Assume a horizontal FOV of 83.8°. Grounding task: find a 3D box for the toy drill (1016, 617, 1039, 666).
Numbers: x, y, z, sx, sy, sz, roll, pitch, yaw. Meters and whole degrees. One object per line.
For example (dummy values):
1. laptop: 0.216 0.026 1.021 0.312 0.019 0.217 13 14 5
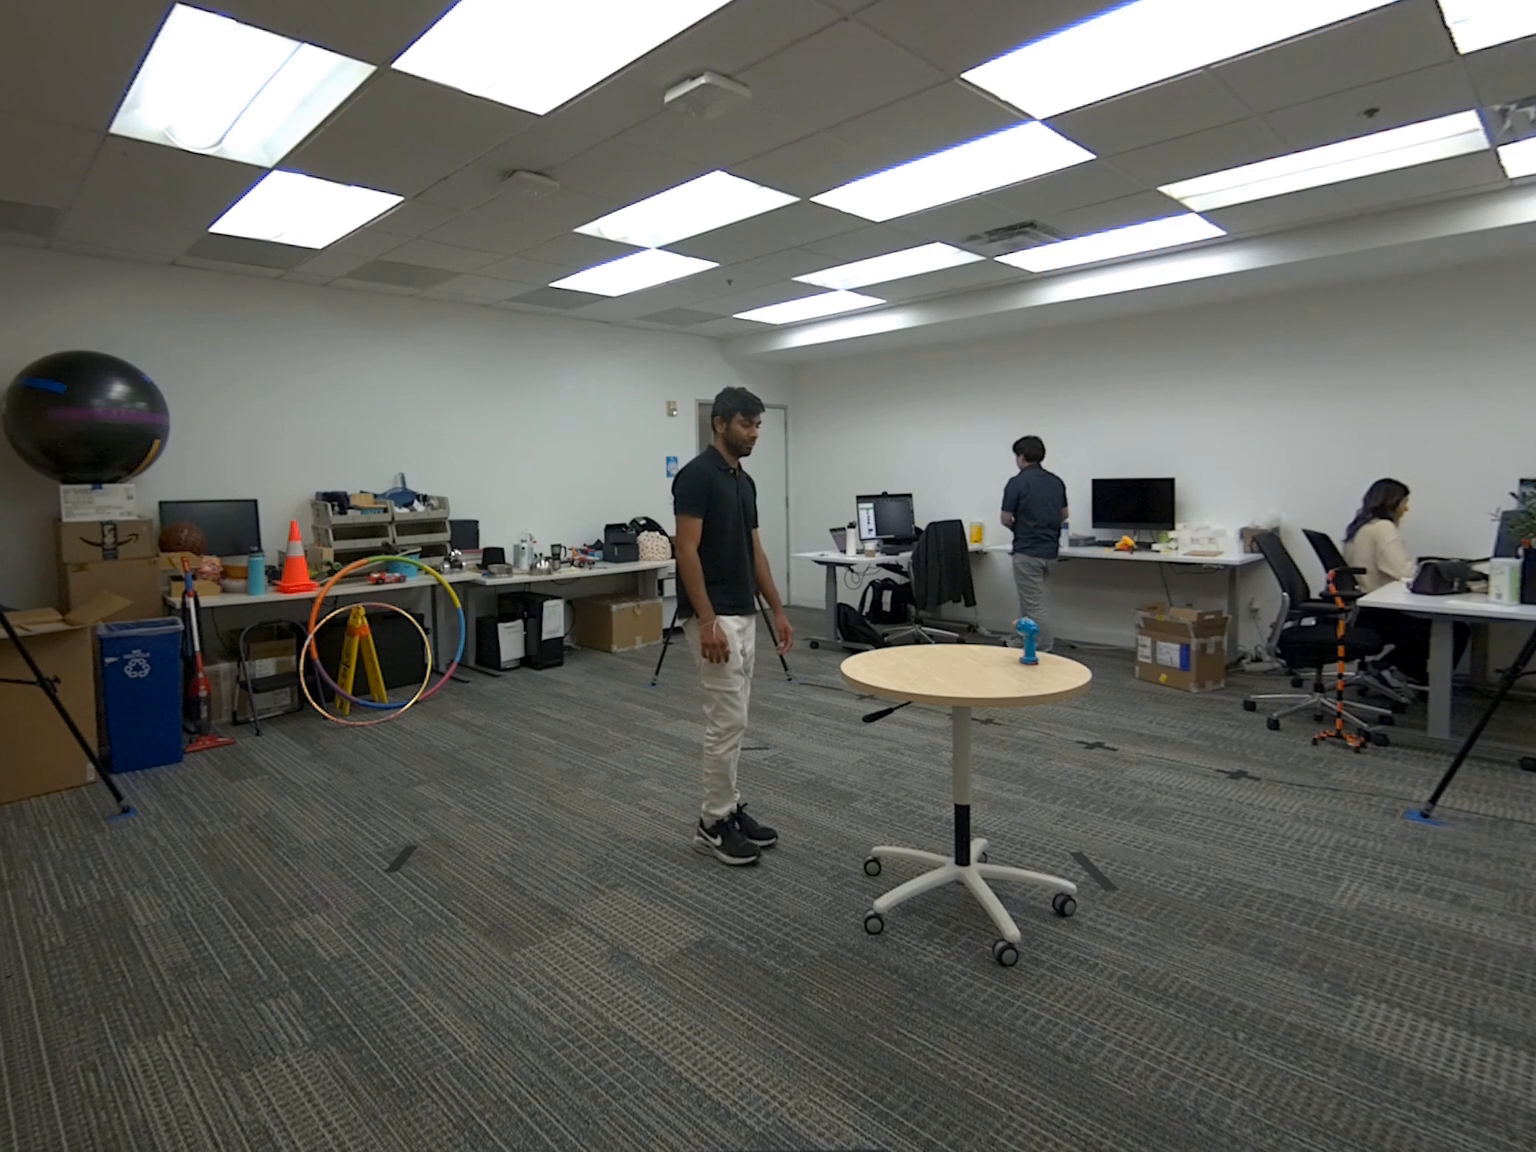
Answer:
1. toy drill: 0.851 0.206 2.795 0.061 0.145 0.171 -2 5 -4
